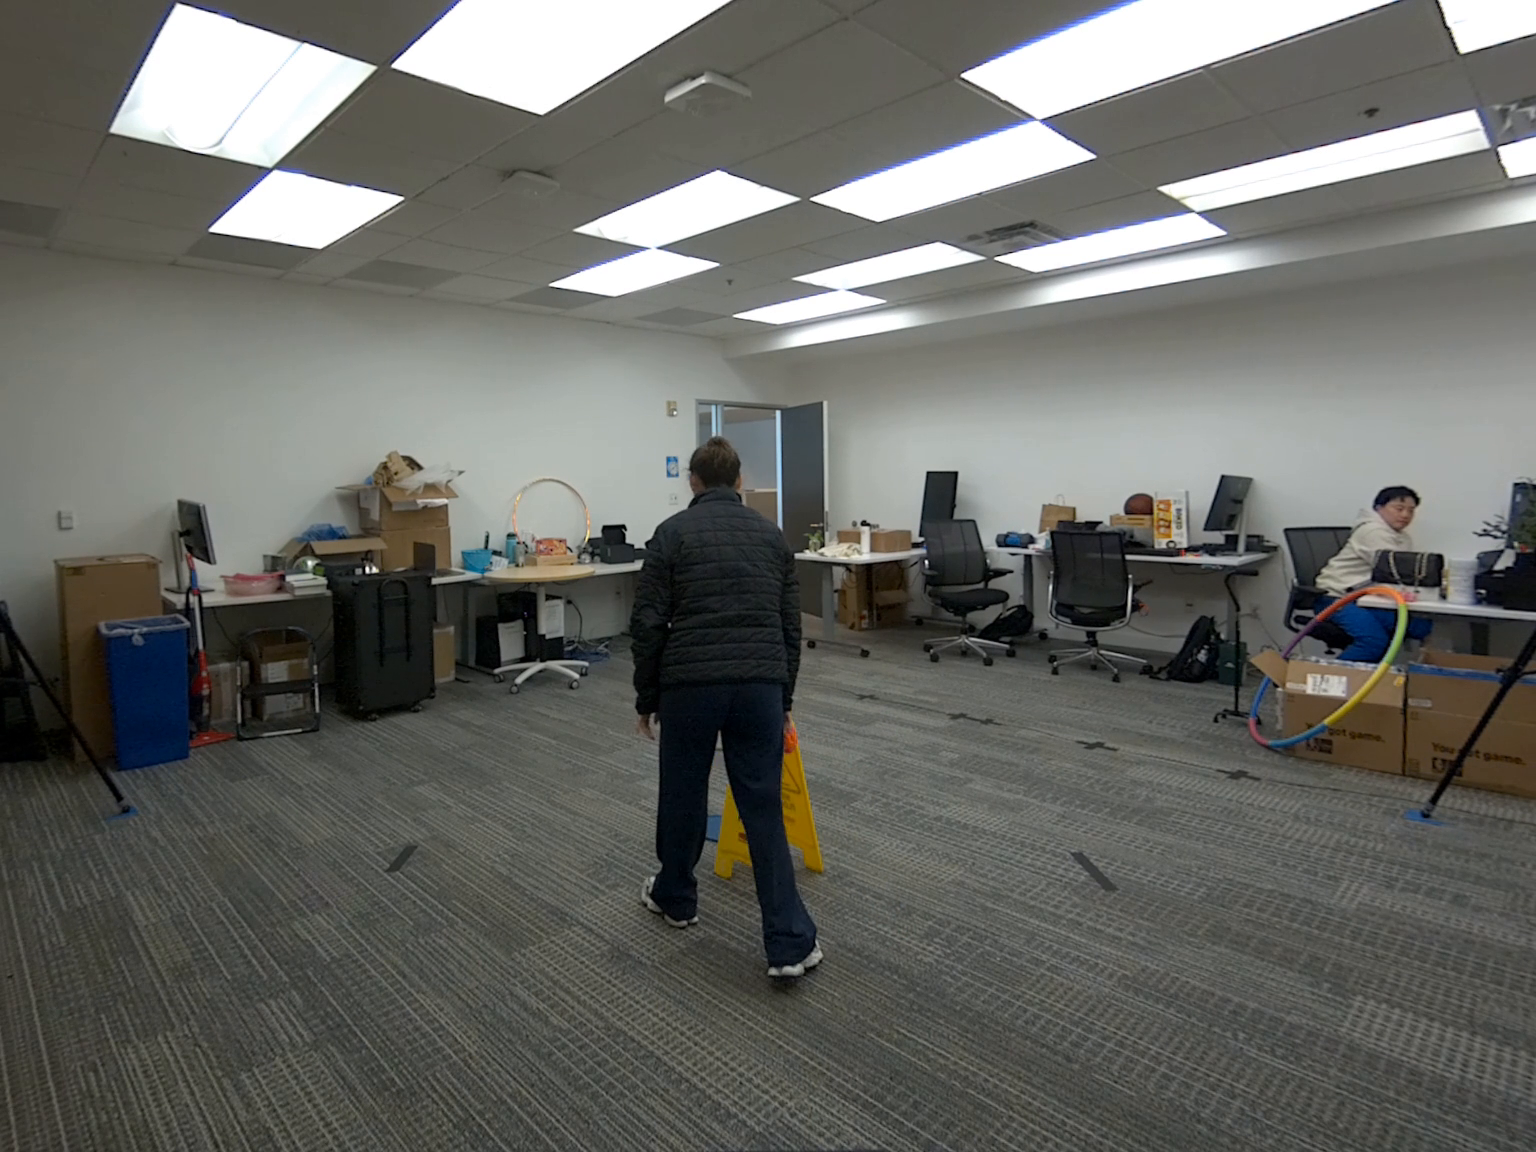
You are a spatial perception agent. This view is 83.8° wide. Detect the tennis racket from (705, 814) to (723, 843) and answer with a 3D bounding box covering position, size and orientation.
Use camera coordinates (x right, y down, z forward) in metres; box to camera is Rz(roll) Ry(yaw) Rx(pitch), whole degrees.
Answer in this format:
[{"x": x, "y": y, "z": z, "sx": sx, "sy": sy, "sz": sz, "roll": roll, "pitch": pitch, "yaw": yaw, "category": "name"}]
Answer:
[{"x": -0.234, "y": 0.995, "z": 3.467, "sx": 0.208, "sy": 0.031, "sz": 0.447, "roll": -6, "pitch": 9, "yaw": -44, "category": "tennis racket"}]
